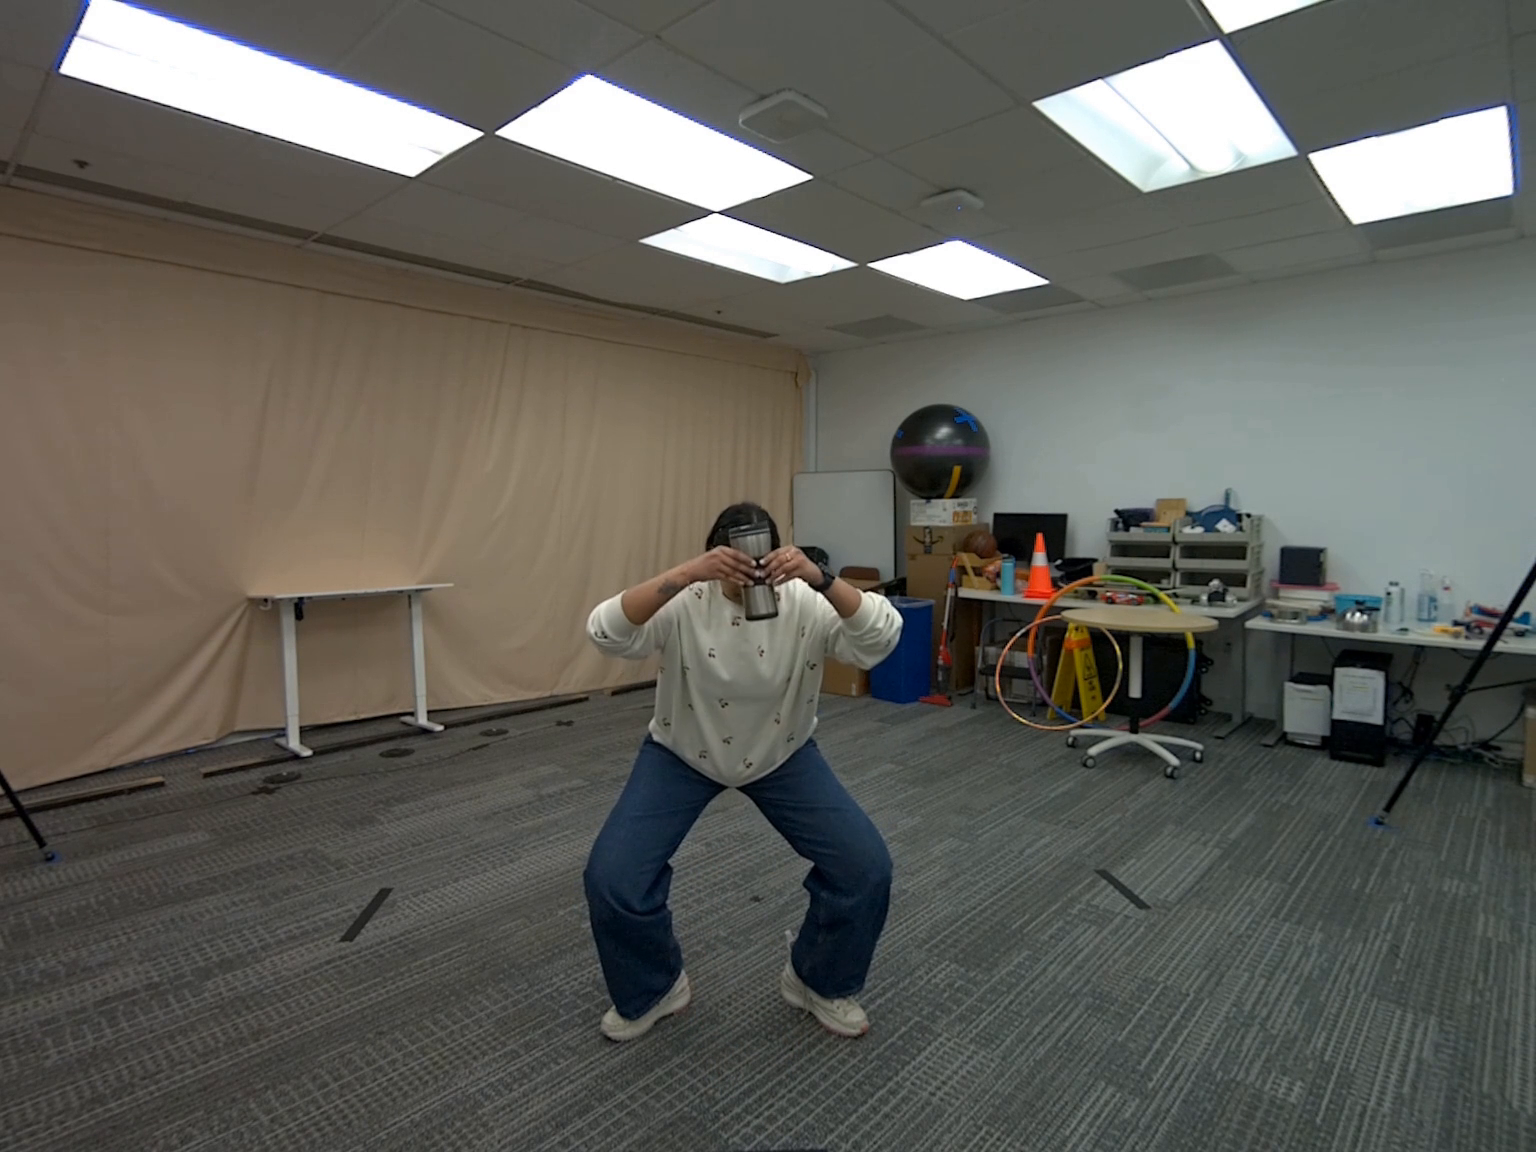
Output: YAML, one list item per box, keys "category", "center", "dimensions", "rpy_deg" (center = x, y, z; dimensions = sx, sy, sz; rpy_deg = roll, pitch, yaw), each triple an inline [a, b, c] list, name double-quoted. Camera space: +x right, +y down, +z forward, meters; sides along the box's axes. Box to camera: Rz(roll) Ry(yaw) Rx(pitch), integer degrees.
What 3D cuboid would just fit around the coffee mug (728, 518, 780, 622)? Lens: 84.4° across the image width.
- category: "coffee mug"
  center: [-0.023, 0.002, 1.791]
  dimensions: [0.087, 0.203, 0.123]
  rpy_deg: [-9, -3, -15]
